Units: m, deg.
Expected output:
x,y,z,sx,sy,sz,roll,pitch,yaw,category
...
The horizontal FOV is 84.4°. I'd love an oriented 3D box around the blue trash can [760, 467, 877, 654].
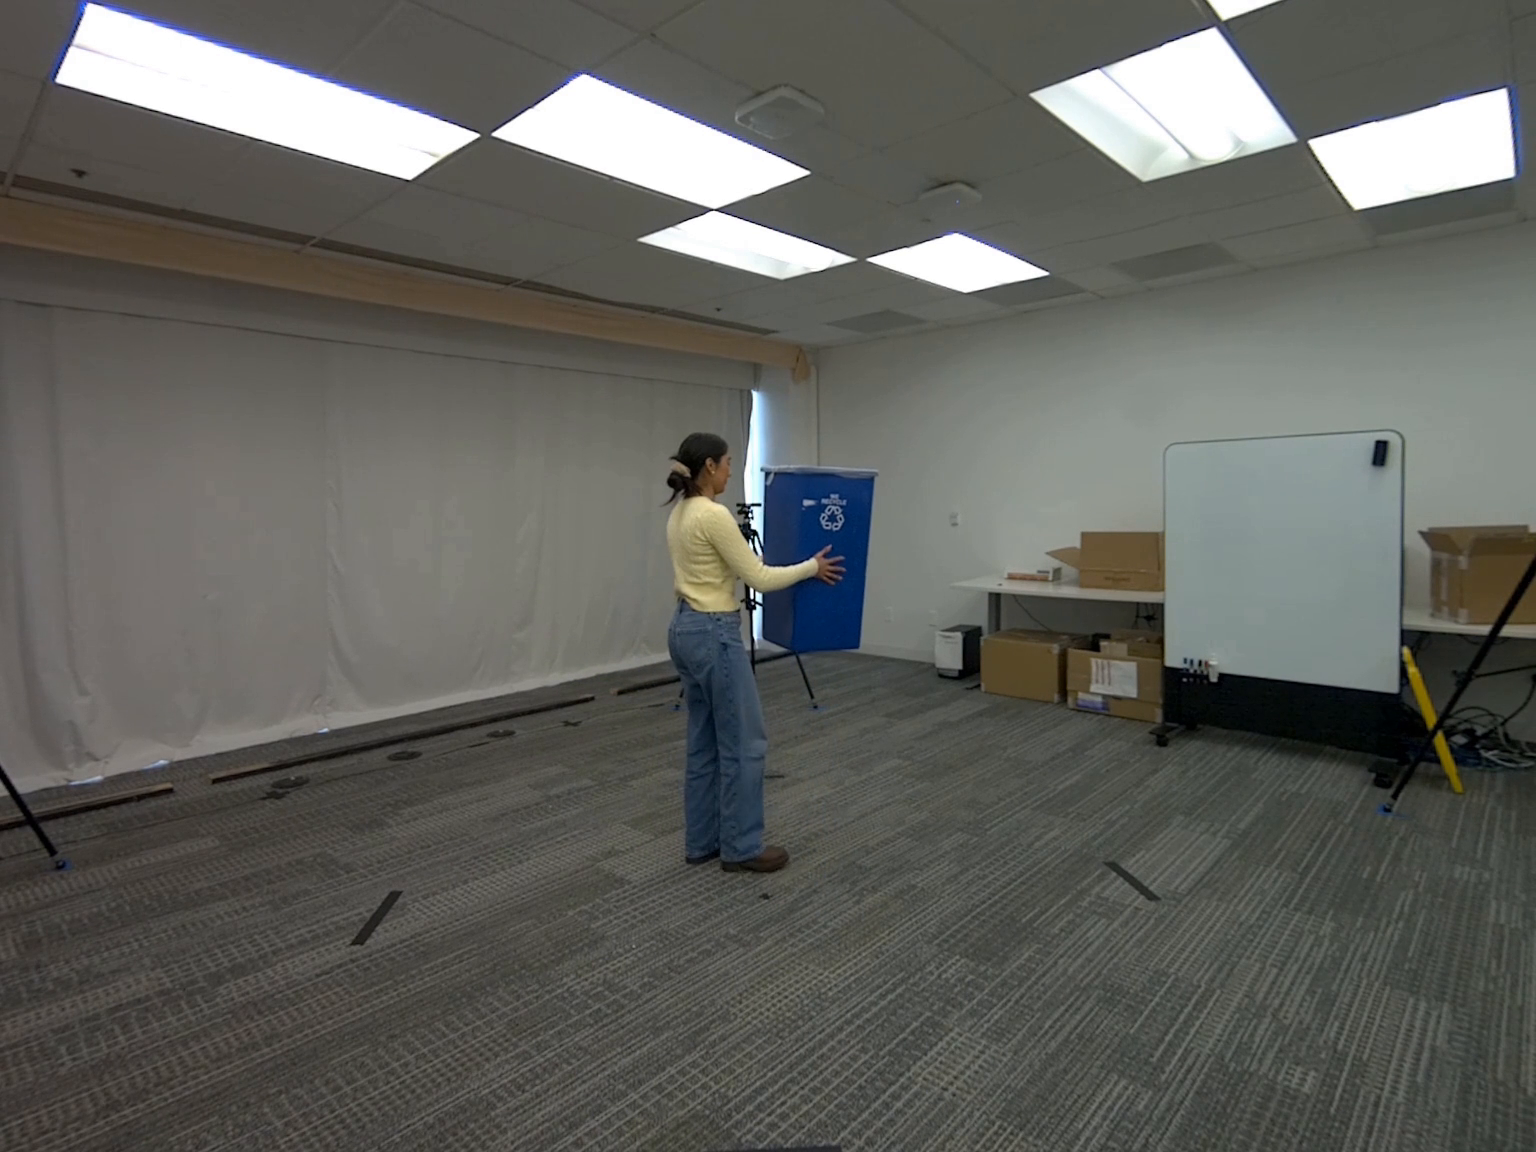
x,y,z,sx,sy,sz,roll,pitch,yaw,category
0.193,-0.082,3.410,0.365,0.711,0.388,0,5,-24,blue trash can
